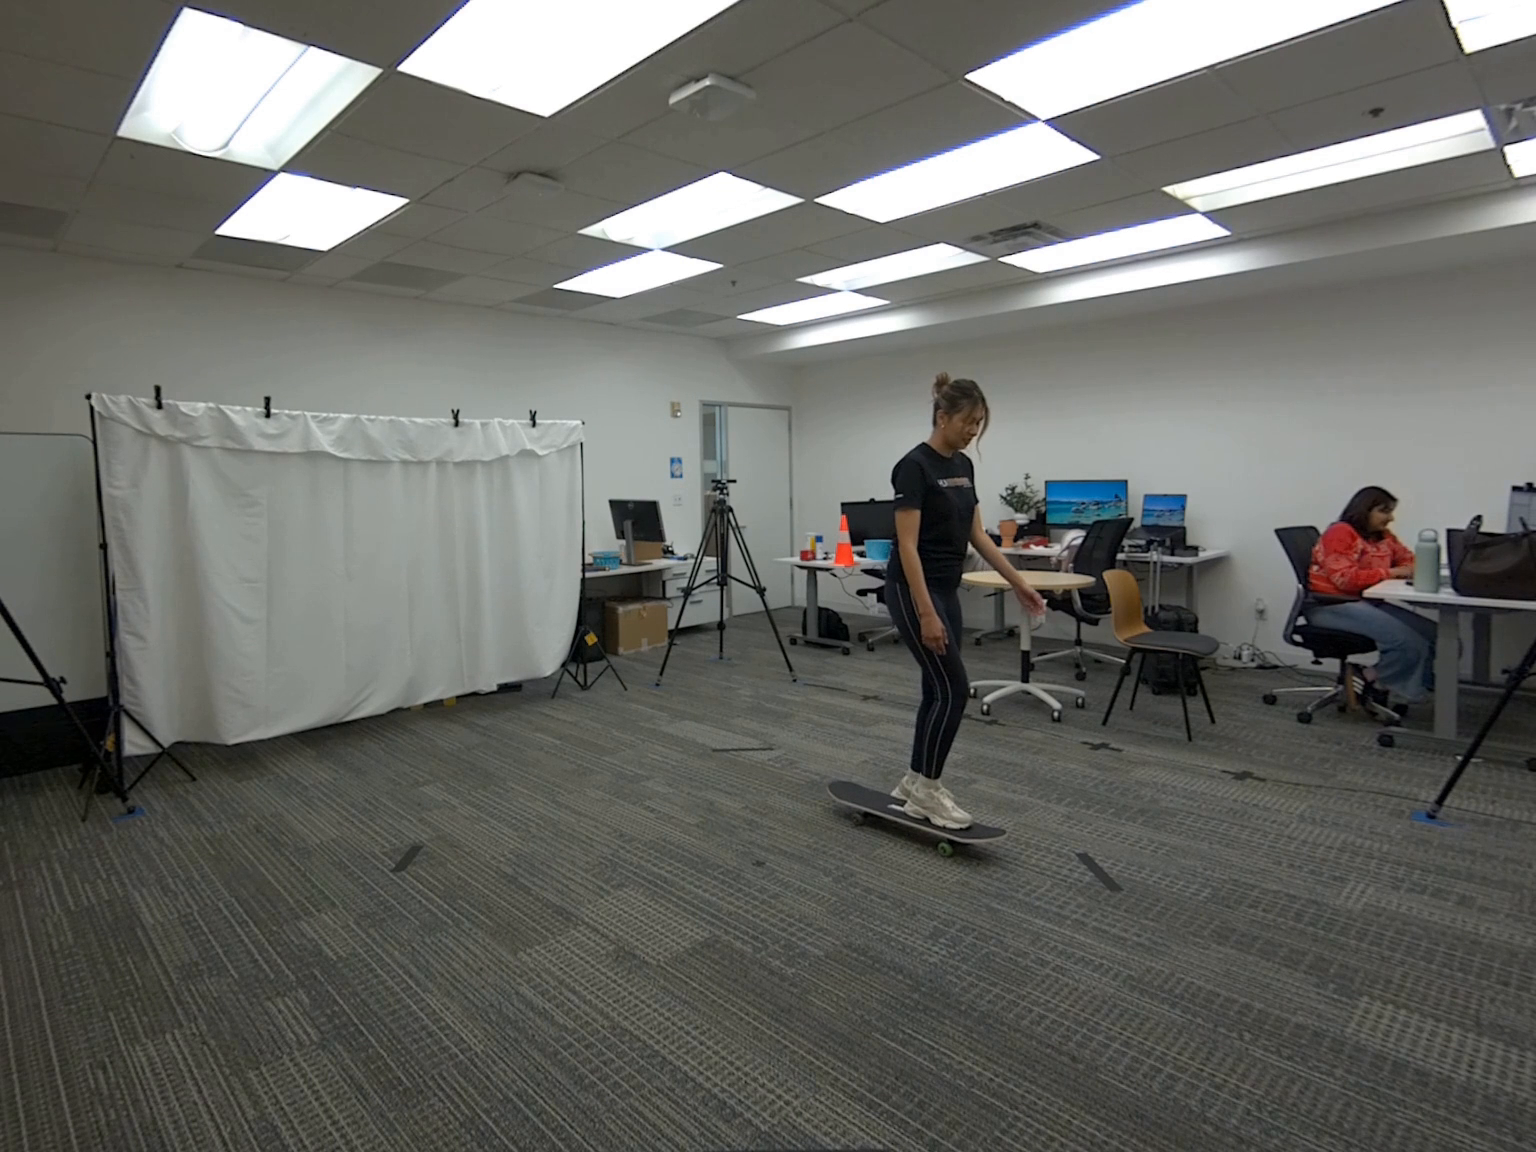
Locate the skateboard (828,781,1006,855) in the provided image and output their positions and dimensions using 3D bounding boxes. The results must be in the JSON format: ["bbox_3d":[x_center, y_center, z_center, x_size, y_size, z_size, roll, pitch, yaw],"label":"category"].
[{"bbox_3d":[0.562,0.961,3.344,0.188,0.110,0.810,-4,7,-45],"label":"skateboard"}]
